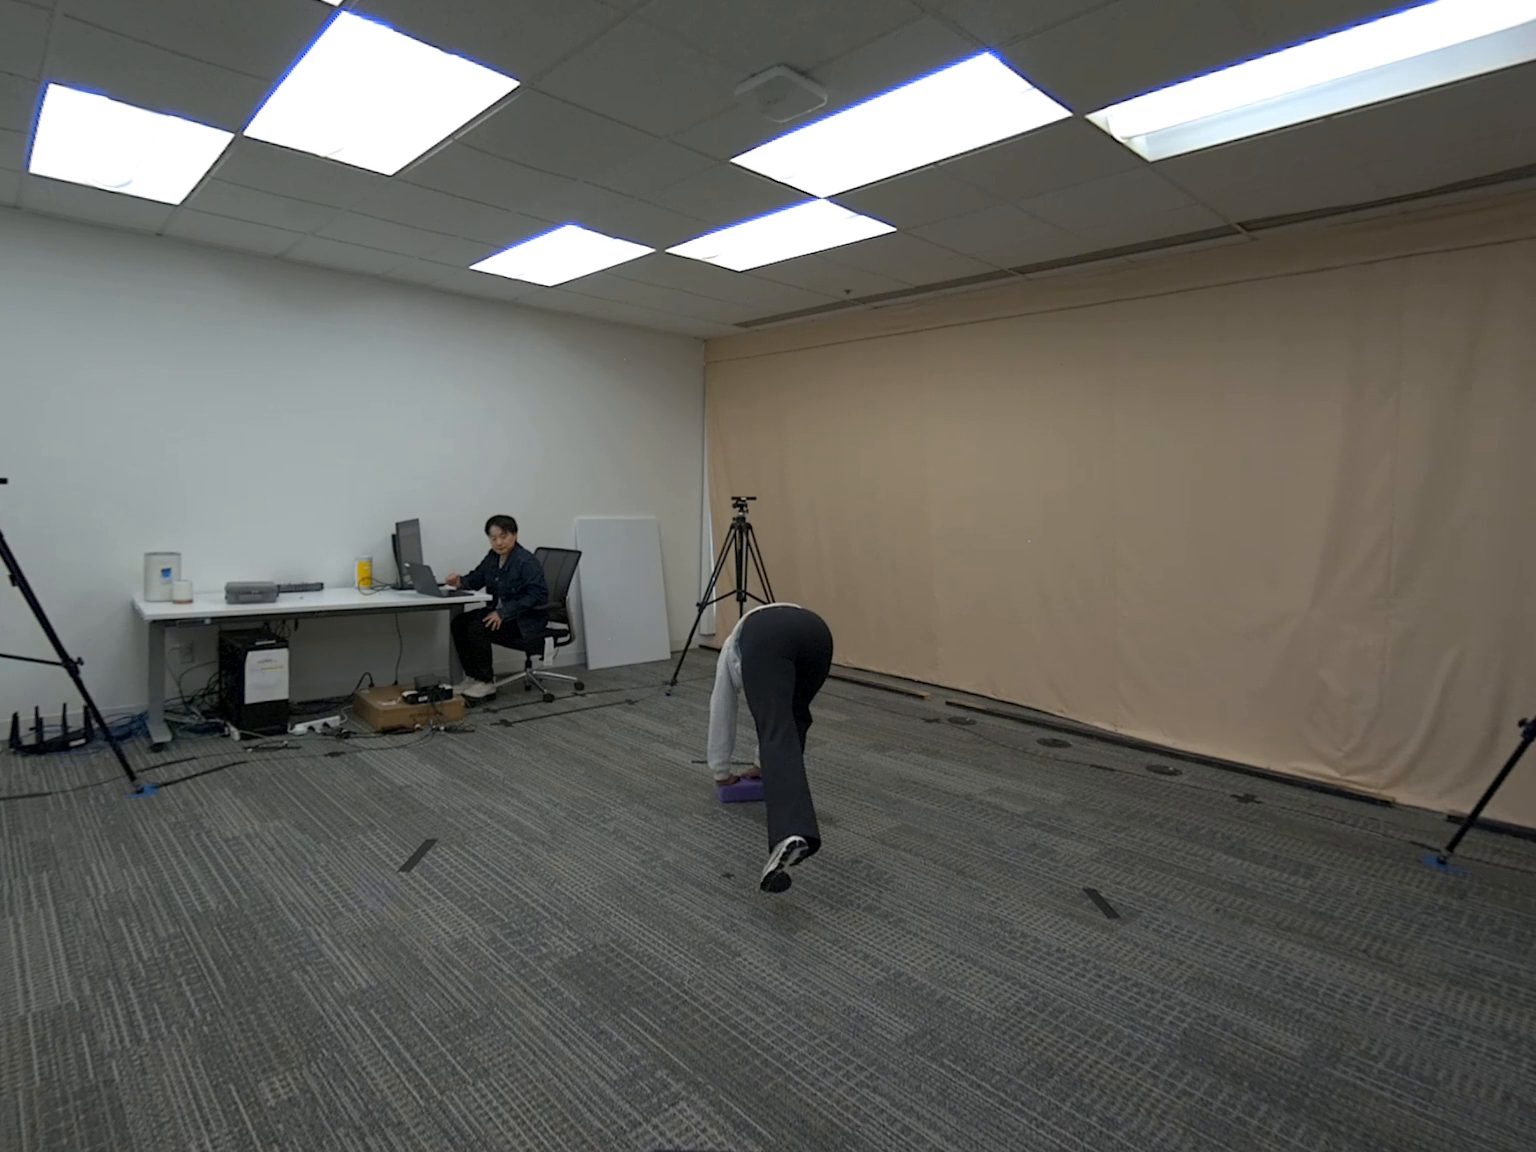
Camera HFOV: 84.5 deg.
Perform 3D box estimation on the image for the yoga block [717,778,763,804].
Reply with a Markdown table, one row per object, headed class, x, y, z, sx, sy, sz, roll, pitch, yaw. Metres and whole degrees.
| class | x | y | z | sx | sy | sz | roll | pitch | yaw |
| --- | --- | --- | --- | --- | --- | --- | --- | --- | --- |
| yoga block | -0.137 | 0.988 | 3.938 | 0.227 | 0.076 | 0.151 | -1 | 5 | -13 |
